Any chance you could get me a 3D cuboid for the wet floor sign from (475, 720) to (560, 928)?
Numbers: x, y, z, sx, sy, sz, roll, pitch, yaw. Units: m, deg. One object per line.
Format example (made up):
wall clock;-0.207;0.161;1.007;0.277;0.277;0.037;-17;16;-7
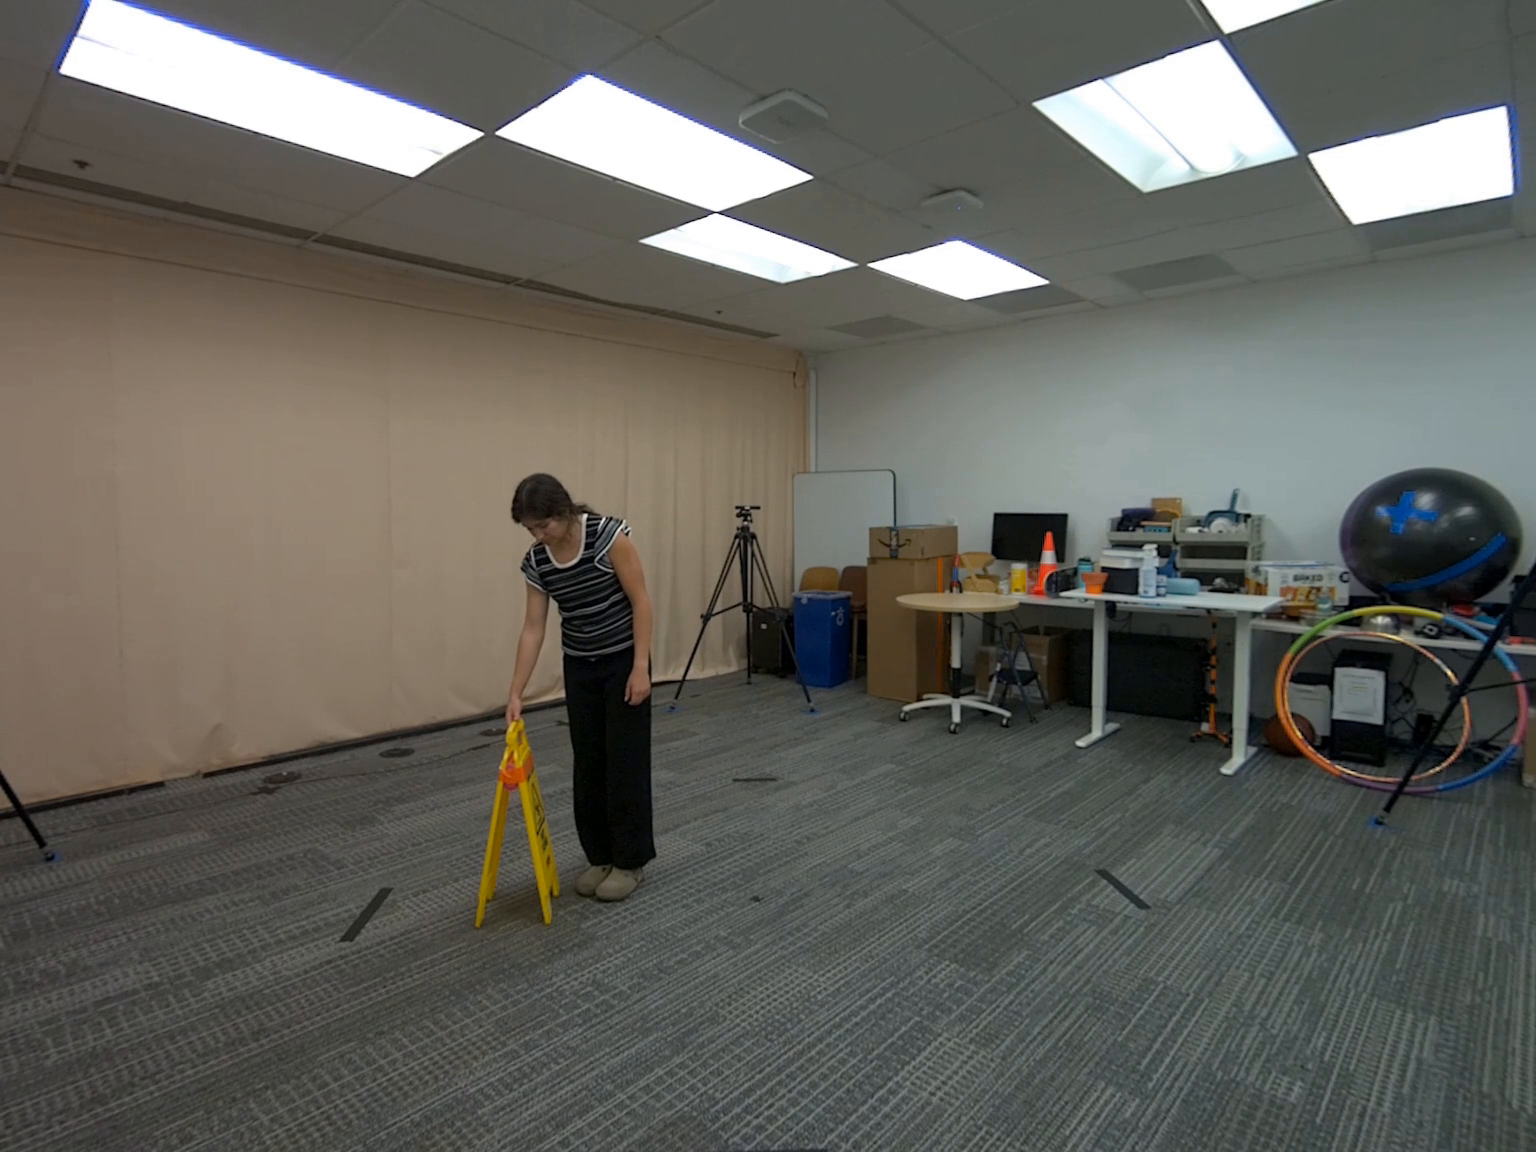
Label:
wet floor sign;-0.870;0.830;2.915;0.288;0.645;0.284;-1;2;-5
